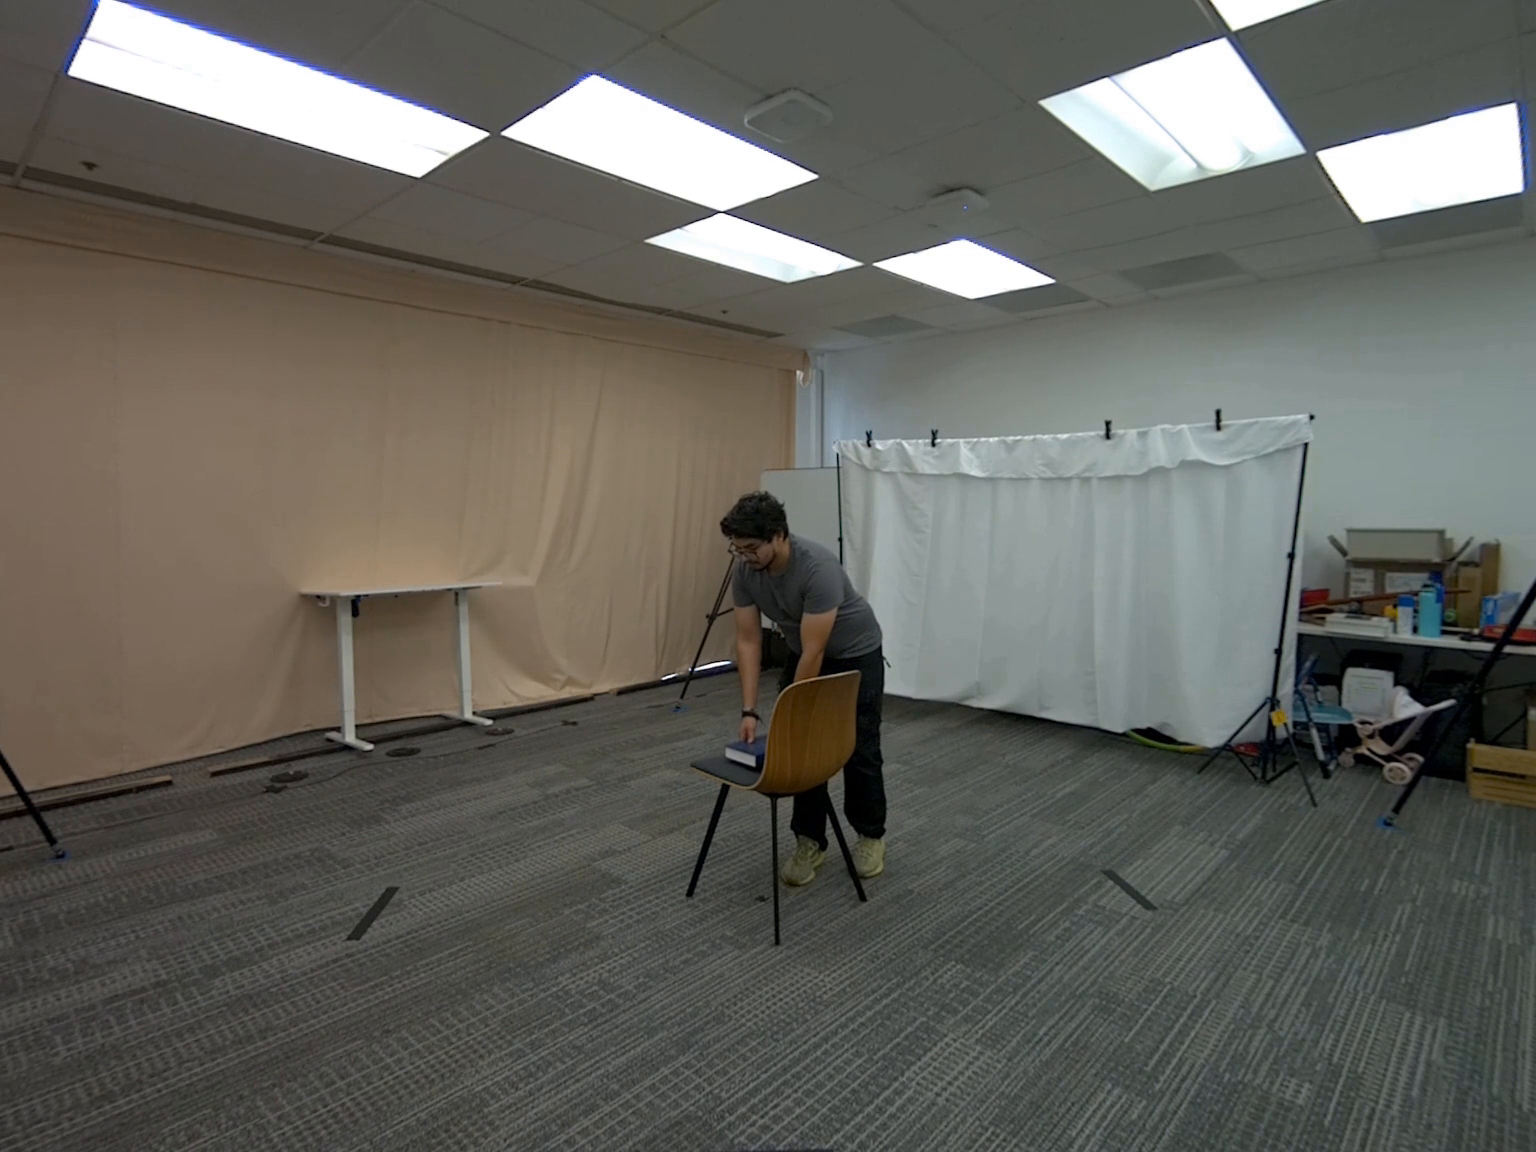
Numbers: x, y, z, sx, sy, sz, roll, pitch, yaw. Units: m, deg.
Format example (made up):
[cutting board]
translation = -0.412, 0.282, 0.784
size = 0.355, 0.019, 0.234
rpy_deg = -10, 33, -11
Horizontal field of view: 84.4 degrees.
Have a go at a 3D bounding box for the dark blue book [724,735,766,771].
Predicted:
[dark blue book]
translation = -0.008, 0.614, 3.004
size = 0.237, 0.045, 0.169
rpy_deg = -5, 6, -44
